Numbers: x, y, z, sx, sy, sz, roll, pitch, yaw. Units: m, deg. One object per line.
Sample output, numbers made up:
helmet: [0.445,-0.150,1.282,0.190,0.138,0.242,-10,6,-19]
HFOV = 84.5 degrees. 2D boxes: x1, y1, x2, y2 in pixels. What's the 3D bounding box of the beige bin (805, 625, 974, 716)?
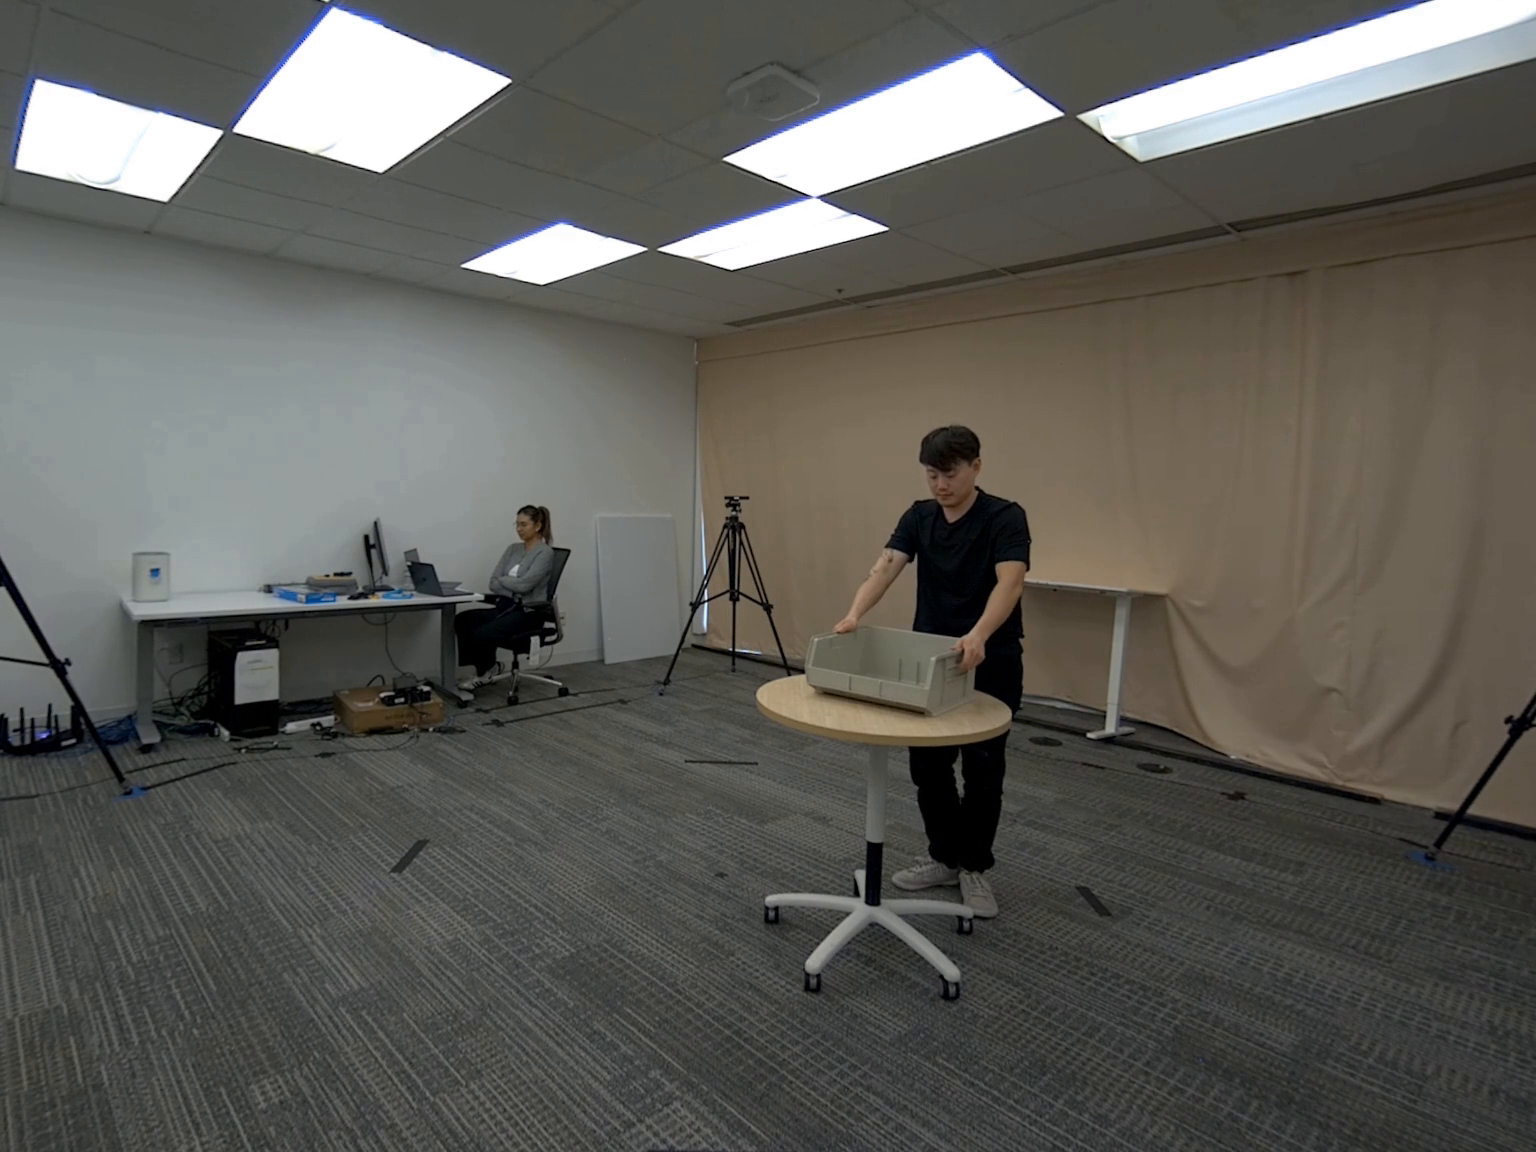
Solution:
beige bin: [0.392,0.287,2.626,0.433,0.188,0.369,5,6,37]
